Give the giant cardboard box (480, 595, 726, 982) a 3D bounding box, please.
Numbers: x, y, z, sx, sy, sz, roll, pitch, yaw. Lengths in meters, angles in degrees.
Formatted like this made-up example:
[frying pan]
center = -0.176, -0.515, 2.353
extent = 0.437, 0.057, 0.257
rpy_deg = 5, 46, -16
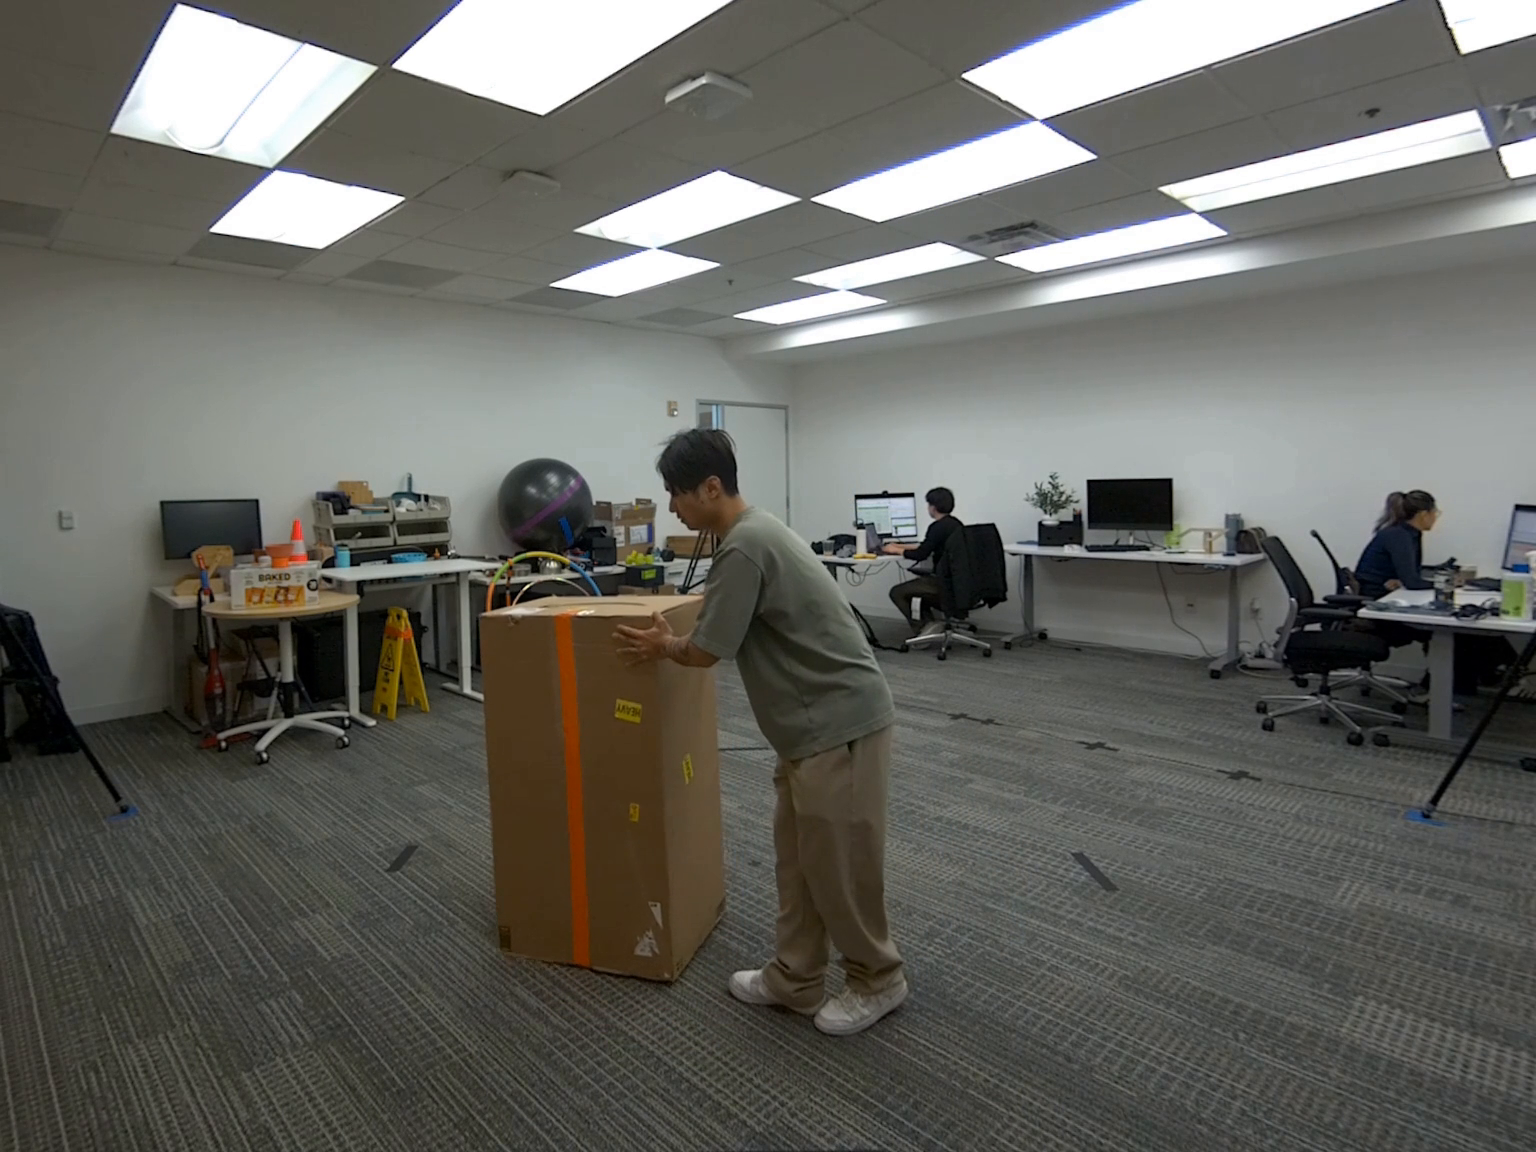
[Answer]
[giant cardboard box]
center = -0.492, 0.597, 2.631
extent = 0.588, 1.023, 0.419
rpy_deg = -2, 3, 20
